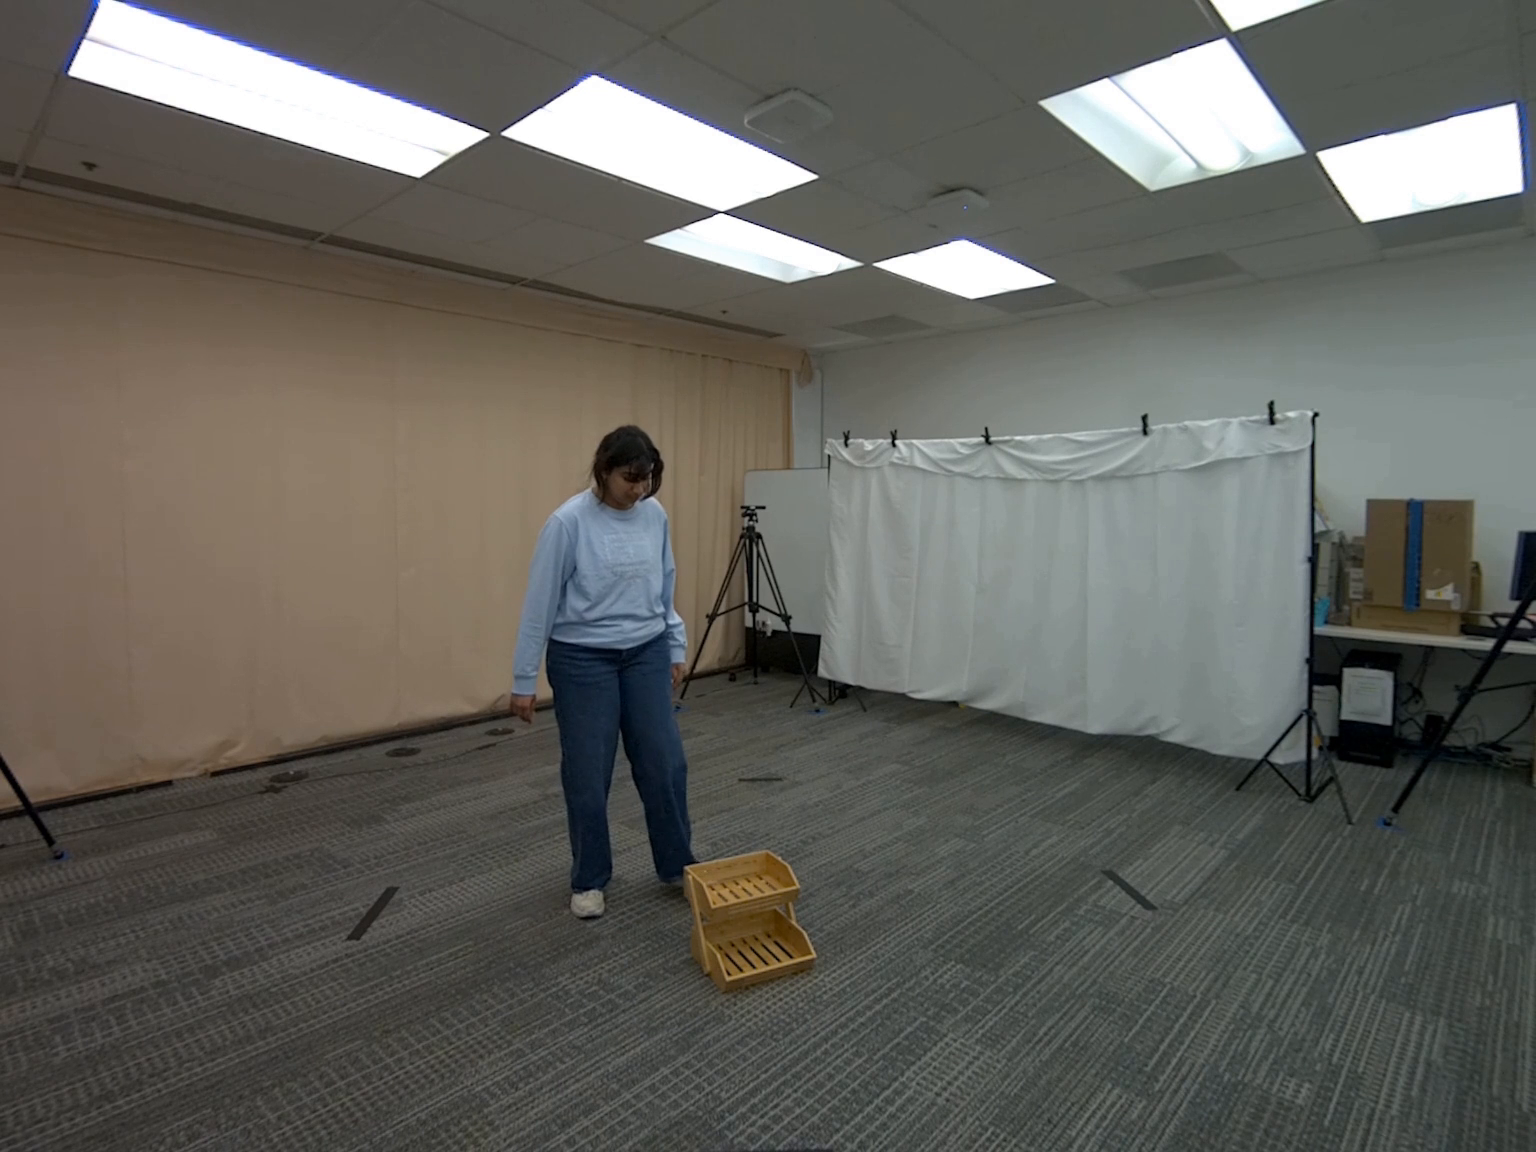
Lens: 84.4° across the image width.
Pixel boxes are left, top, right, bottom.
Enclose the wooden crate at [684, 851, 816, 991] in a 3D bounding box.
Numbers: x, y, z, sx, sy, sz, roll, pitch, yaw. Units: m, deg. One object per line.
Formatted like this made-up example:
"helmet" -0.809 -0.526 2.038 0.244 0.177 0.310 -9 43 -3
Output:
"wooden crate" -0.052 1.045 2.572 0.316 0.273 0.310 -2 3 -28
